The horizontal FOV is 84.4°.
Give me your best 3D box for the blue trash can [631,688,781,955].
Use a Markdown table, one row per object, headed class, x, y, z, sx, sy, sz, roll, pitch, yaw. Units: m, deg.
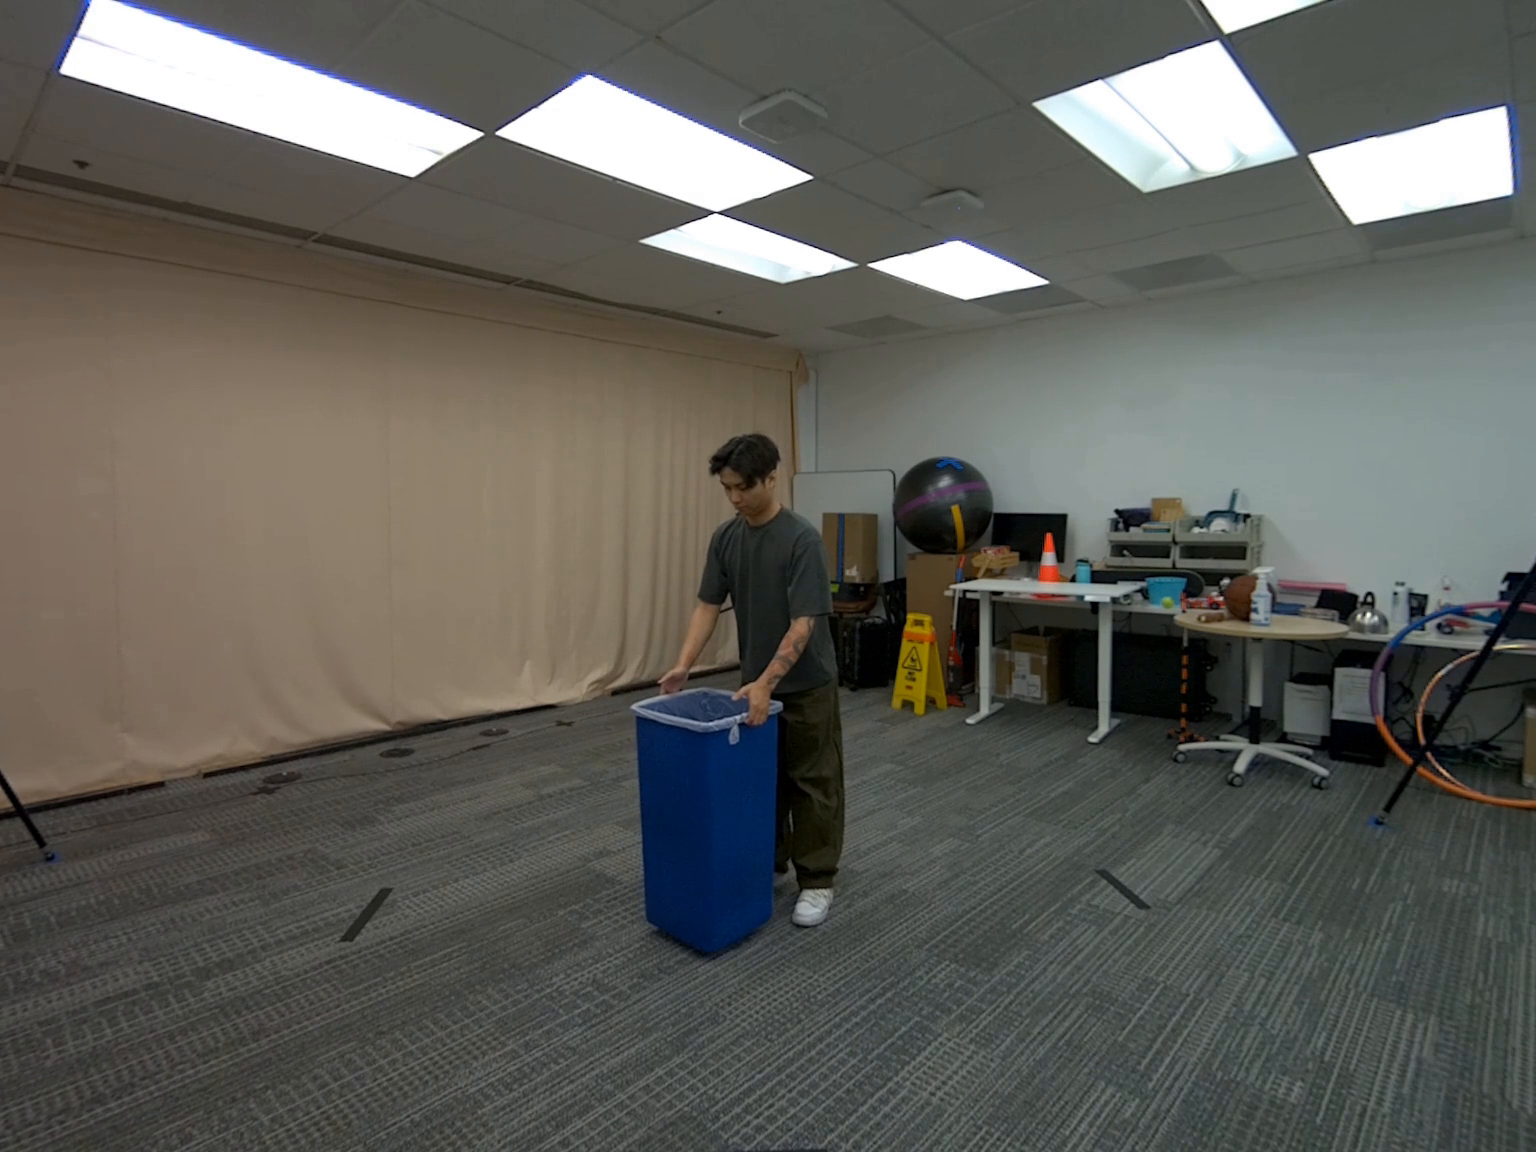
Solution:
| class | x | y | z | sx | sy | sz | roll | pitch | yaw |
| --- | --- | --- | --- | --- | --- | --- | --- | --- | --- |
| blue trash can | -0.195 | 0.773 | 2.724 | 0.390 | 0.712 | 0.363 | 2 | 3 | 40 |
